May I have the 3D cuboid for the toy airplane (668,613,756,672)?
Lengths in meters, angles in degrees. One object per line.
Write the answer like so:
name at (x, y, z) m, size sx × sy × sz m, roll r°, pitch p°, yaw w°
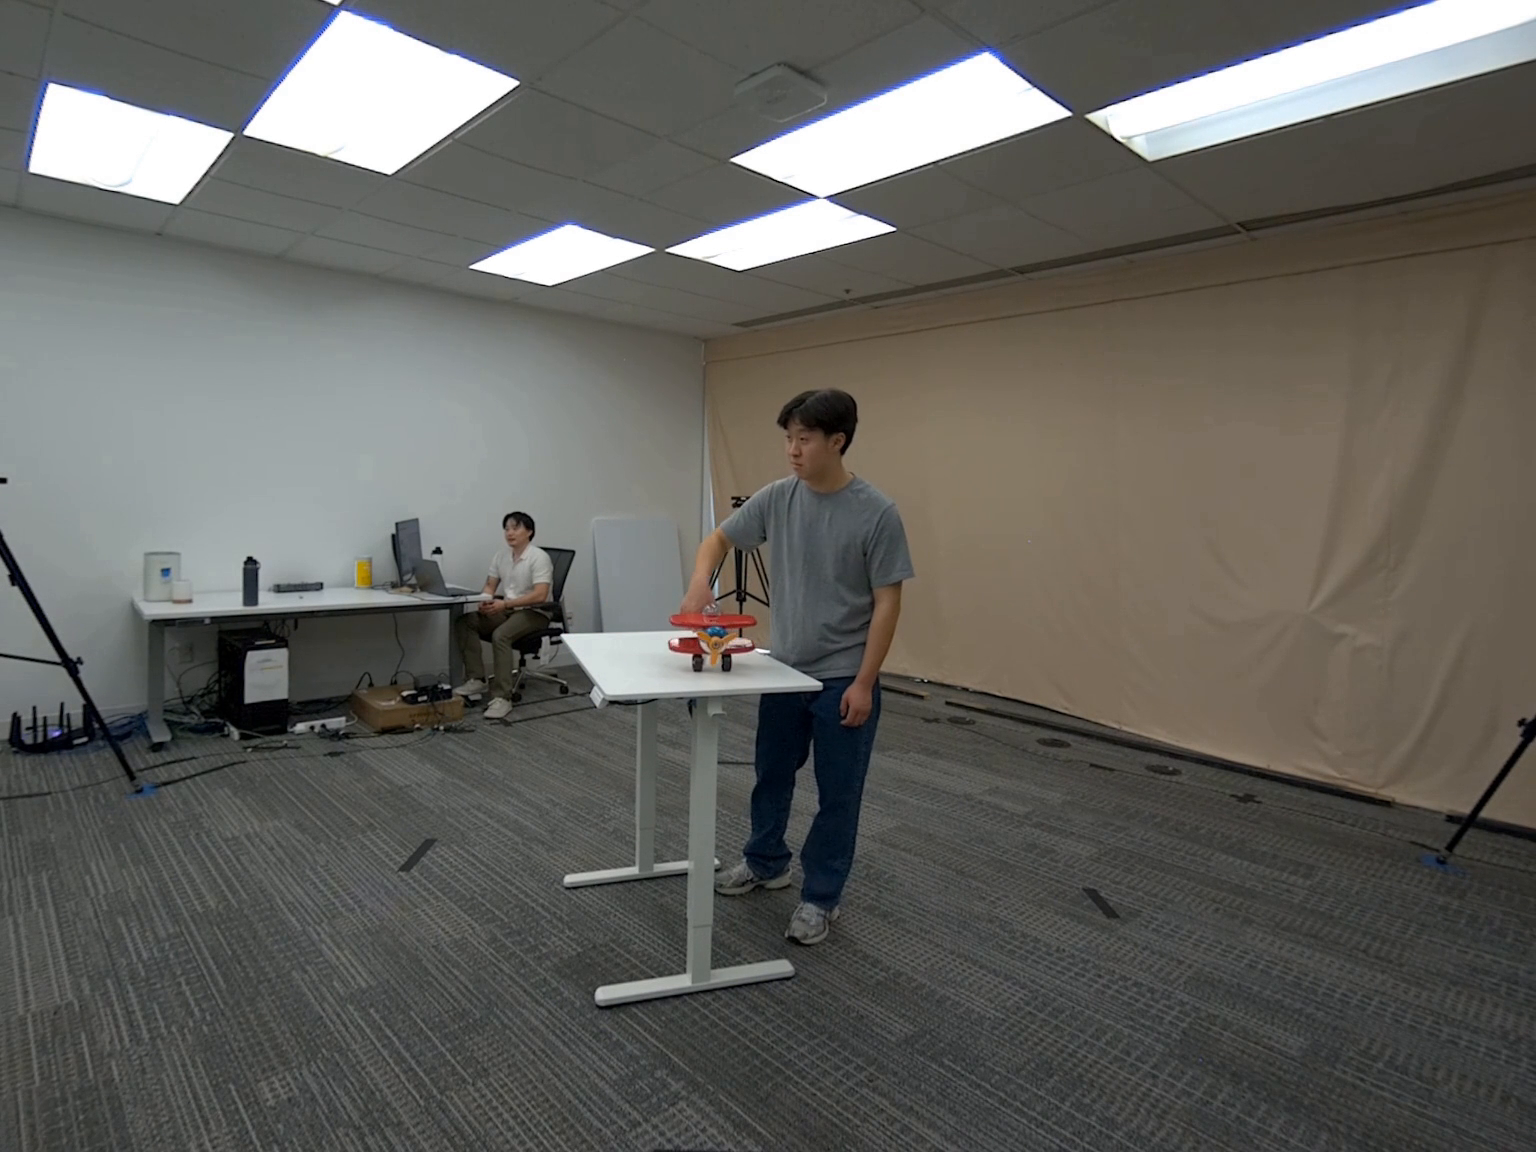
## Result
toy airplane at (-0.193, 0.169, 2.500) m, size 0.247 × 0.154 × 0.268 m, roll -17°, pitch 38°, yaw -33°
